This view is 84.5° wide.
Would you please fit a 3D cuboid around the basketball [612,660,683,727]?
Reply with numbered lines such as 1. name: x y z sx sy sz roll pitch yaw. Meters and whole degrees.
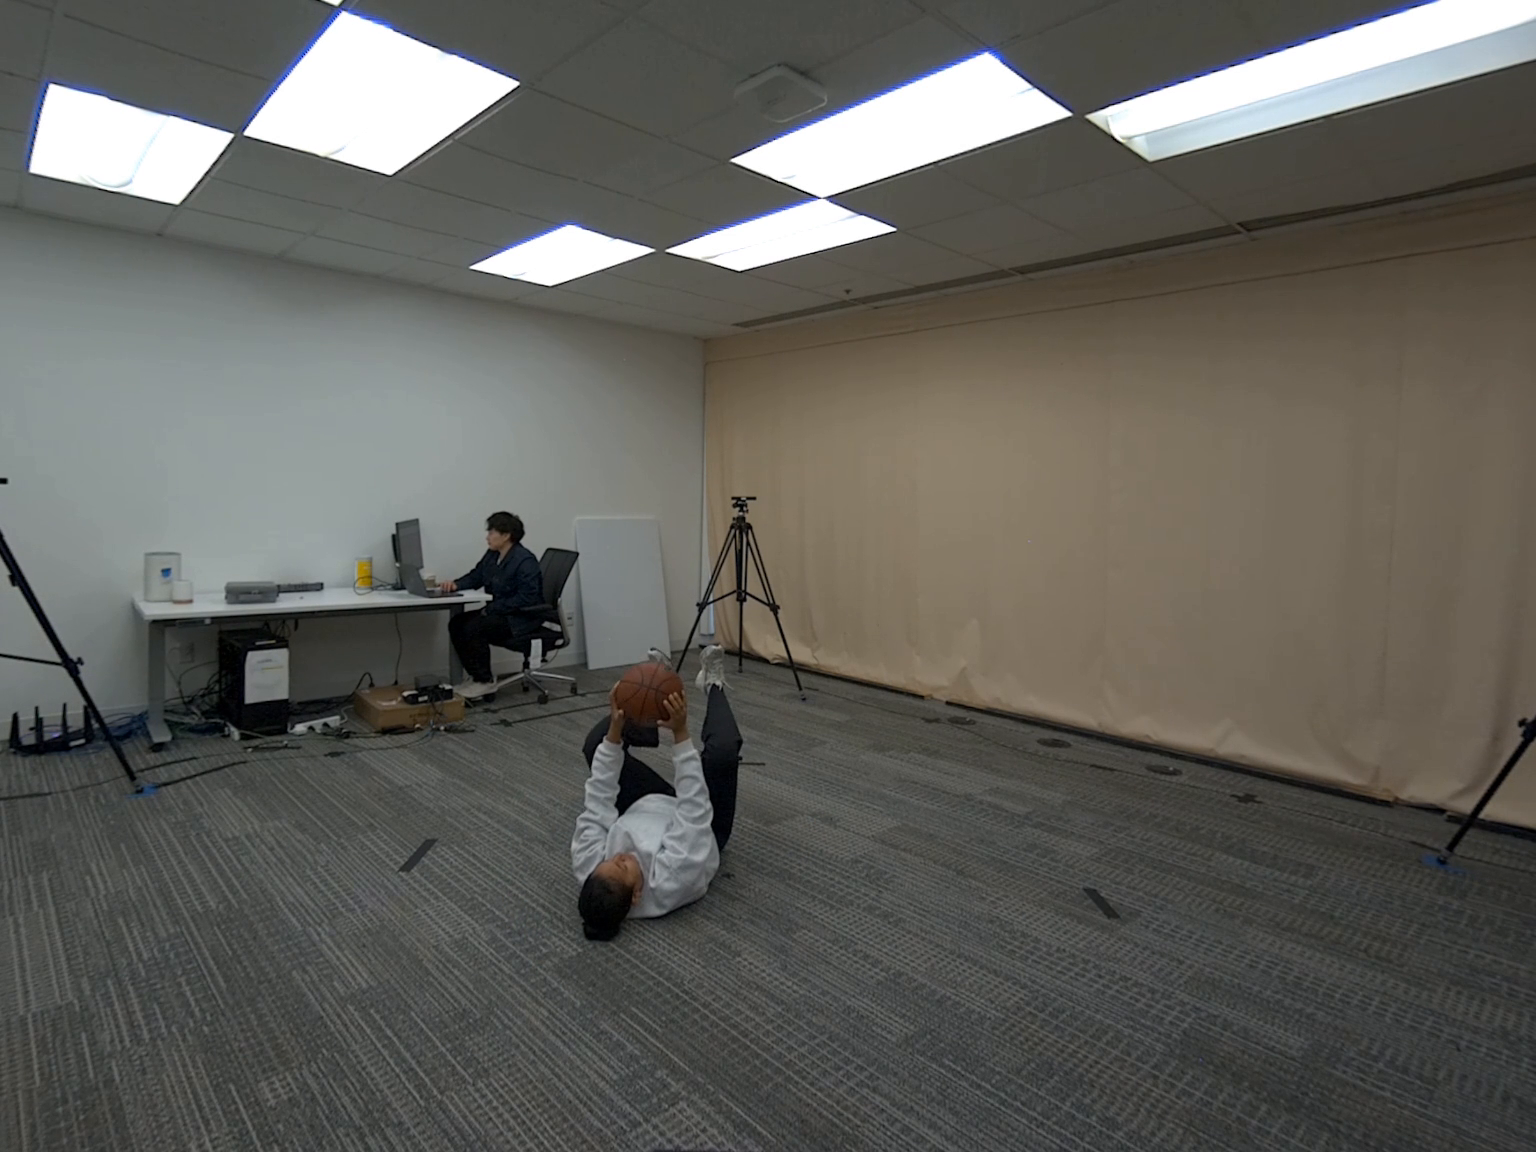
1. basketball: -0.427 0.426 2.996 0.235 0.235 0.237 4 7 -2
